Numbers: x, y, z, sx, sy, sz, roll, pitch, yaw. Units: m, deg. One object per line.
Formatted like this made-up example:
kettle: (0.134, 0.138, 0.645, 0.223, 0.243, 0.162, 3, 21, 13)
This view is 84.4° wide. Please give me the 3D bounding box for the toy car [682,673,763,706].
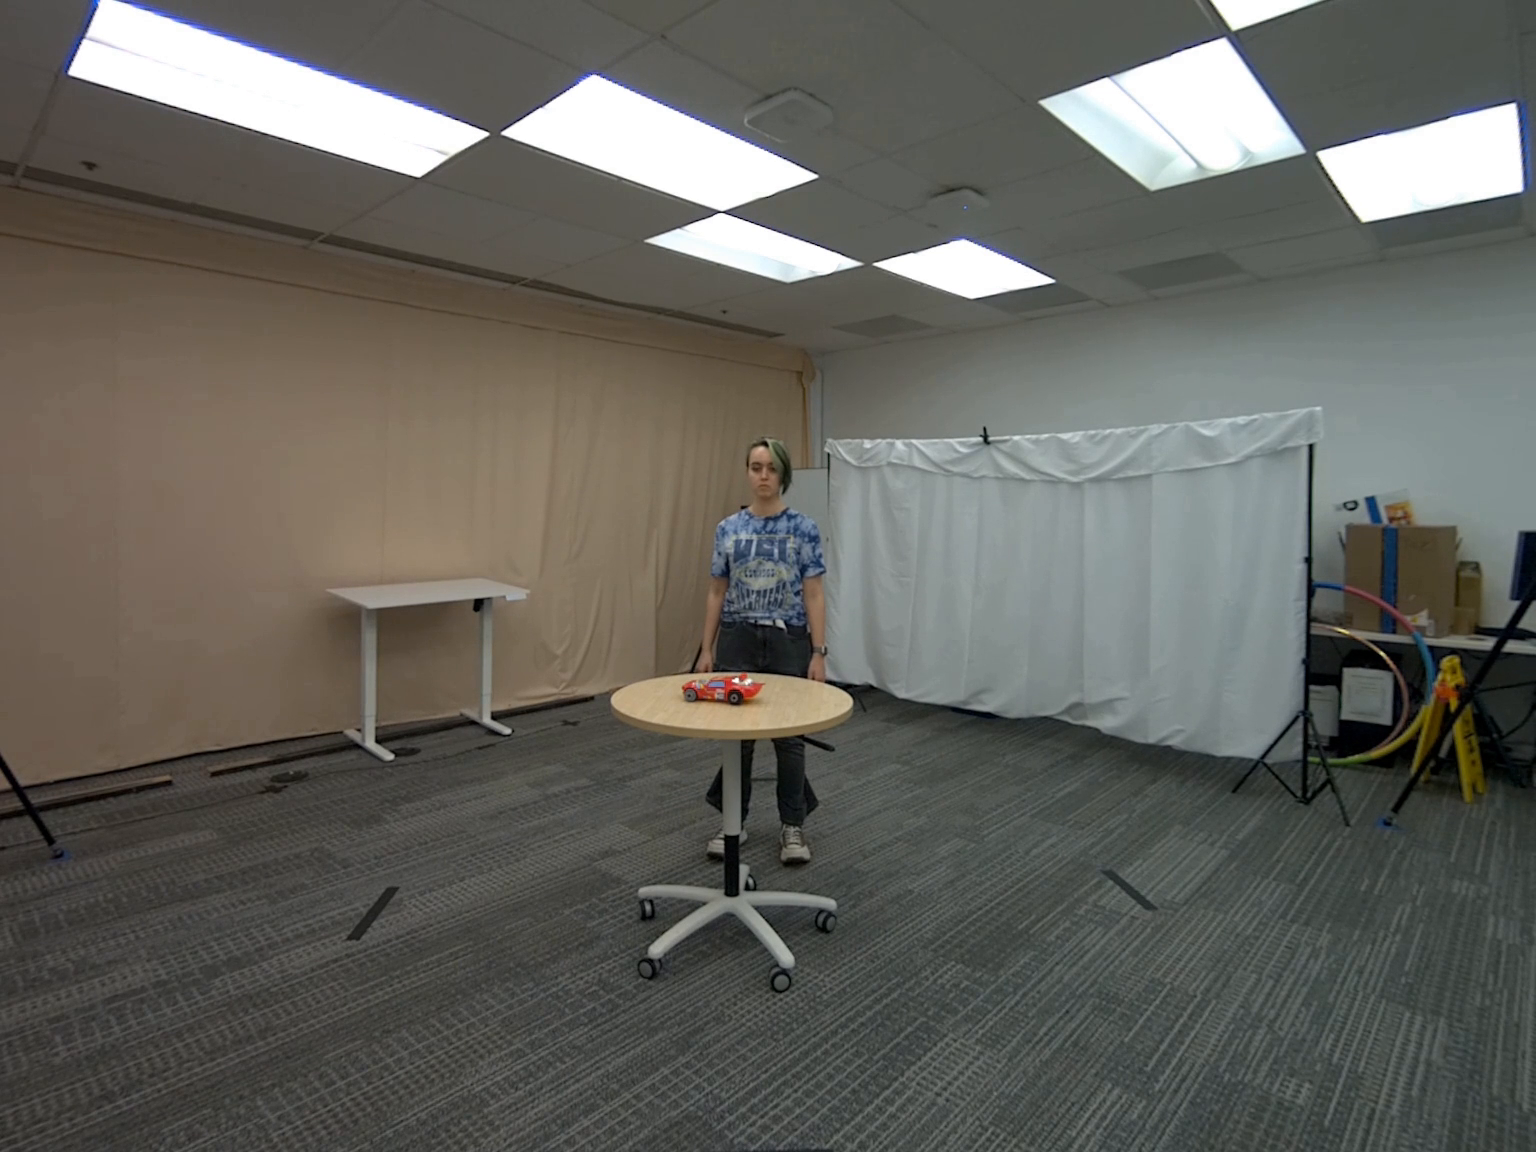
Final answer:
toy car: (-0.130, 0.358, 2.642, 0.259, 0.083, 0.128, -9, 2, 17)
